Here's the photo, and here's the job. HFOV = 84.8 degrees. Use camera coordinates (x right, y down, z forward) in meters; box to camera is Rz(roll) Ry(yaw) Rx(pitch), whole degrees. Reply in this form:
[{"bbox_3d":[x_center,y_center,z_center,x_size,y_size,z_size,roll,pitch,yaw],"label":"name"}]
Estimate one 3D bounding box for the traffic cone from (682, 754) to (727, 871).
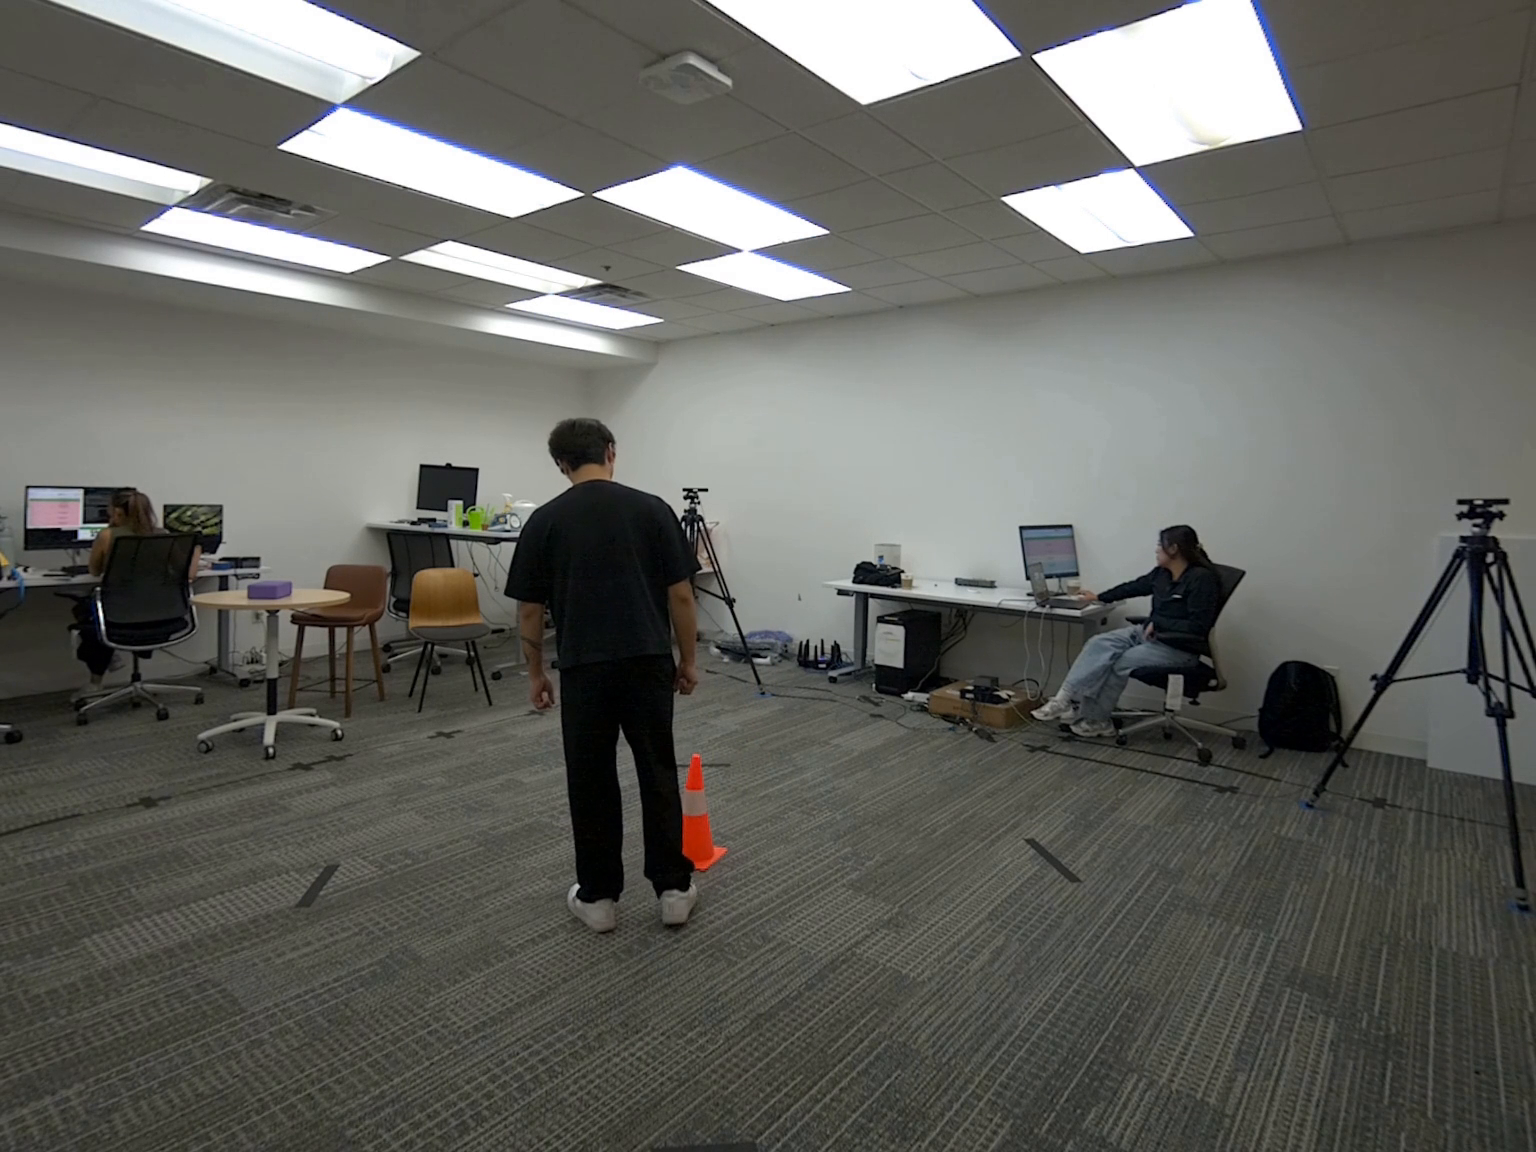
[{"bbox_3d":[-0.288,0.875,3.228,0.212,0.382,0.198,5,6,36],"label":"traffic cone"}]
